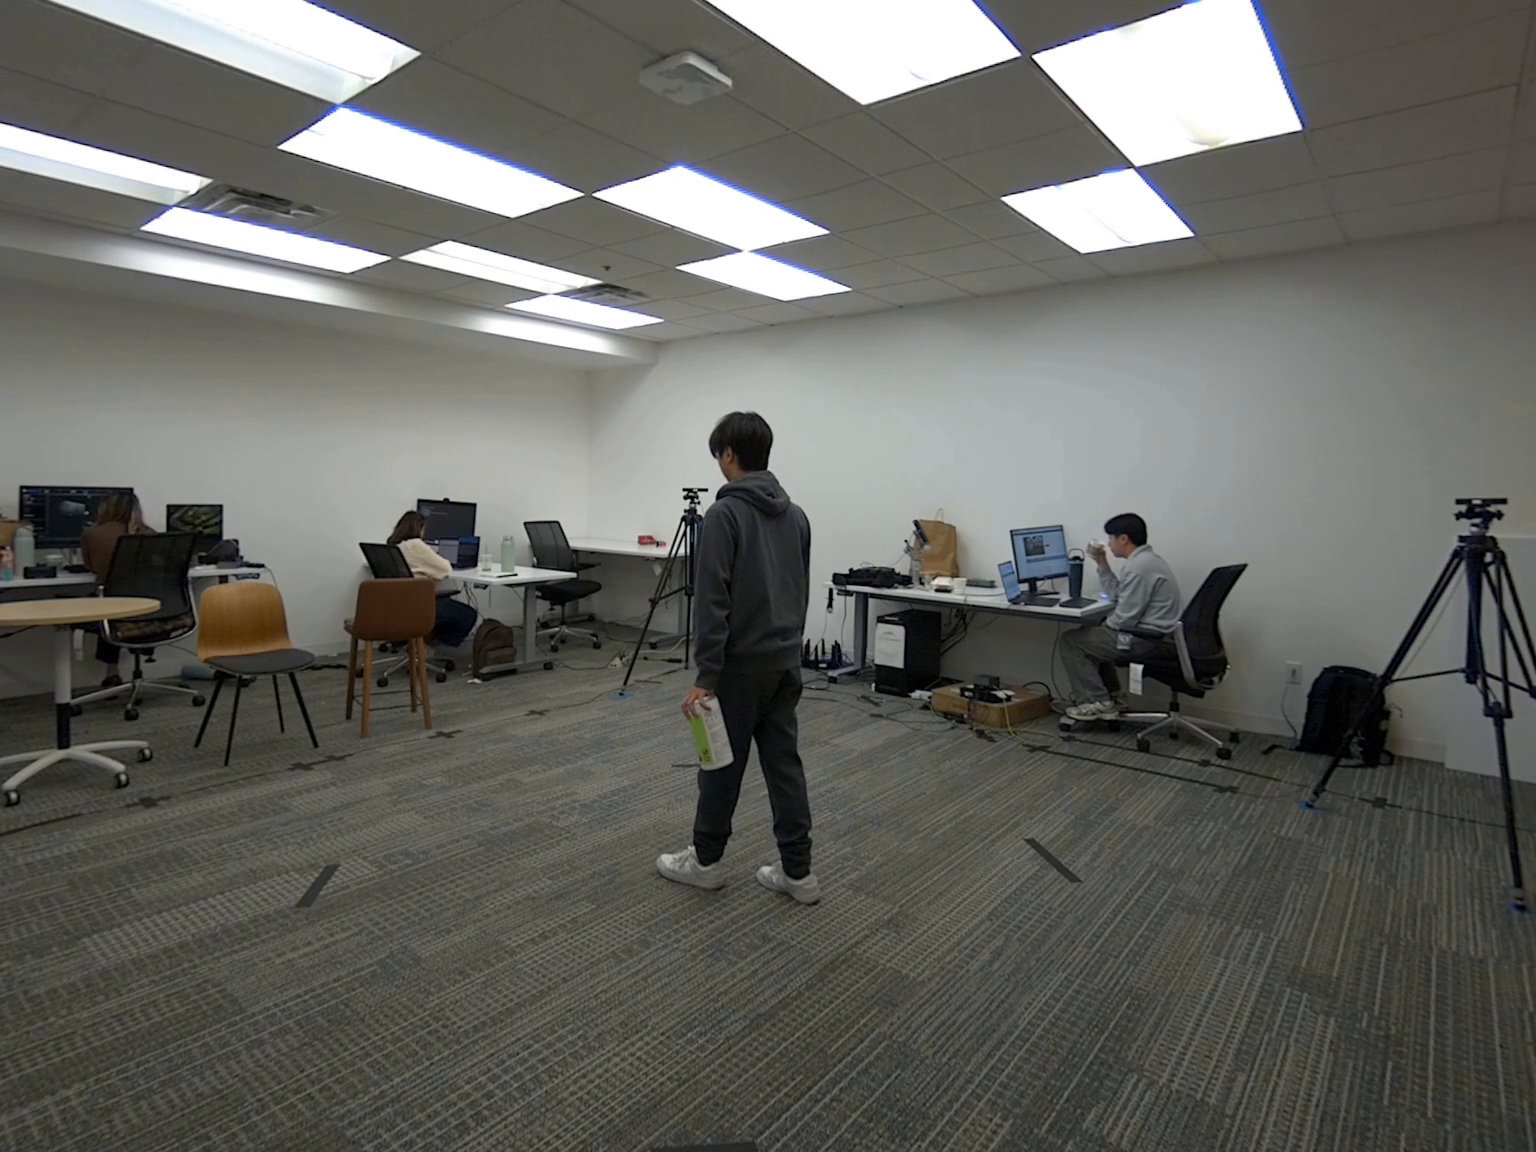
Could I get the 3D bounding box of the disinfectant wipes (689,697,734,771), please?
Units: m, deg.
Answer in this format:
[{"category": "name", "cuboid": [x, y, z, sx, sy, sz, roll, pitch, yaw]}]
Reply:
[{"category": "disinfectant wipes", "cuboid": [-0.201, 0.507, 2.770, 0.118, 0.217, 0.118, -12, 0, -2]}]
